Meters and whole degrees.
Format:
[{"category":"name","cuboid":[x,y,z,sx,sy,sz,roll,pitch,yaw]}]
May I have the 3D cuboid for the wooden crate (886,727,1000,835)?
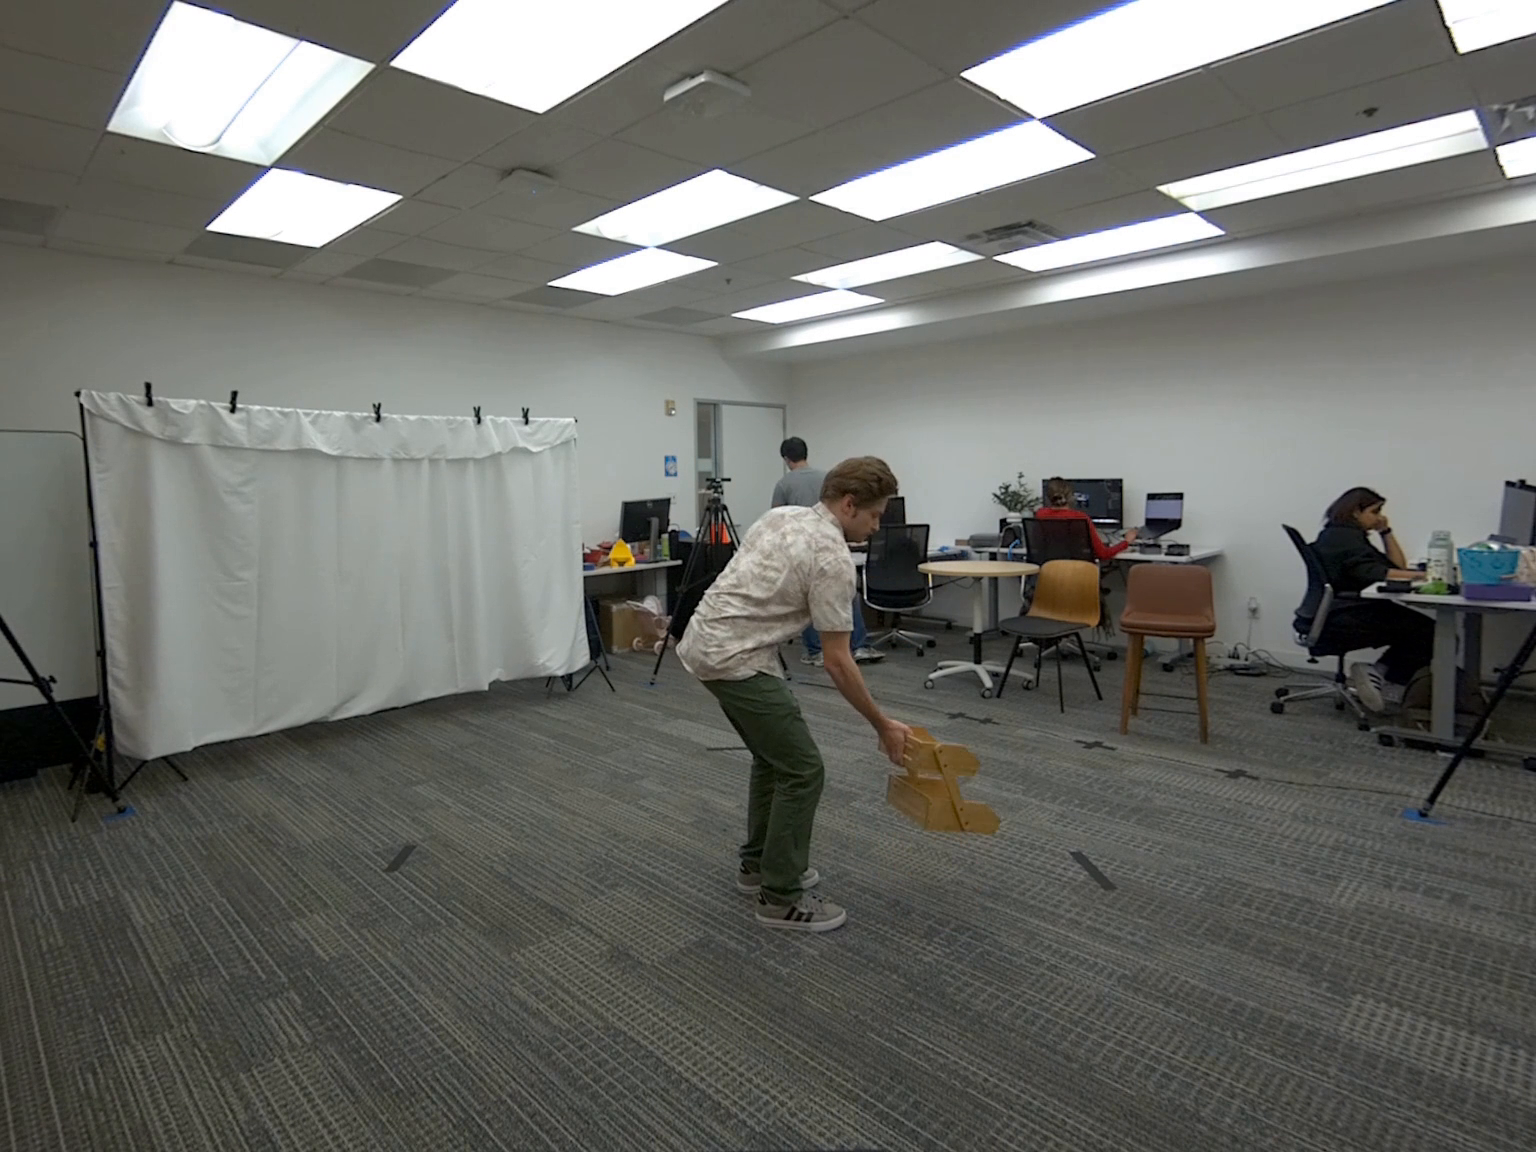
[{"category":"wooden crate","cuboid":[0.550,0.635,2.753,0.298,0.274,0.329,8,-2,-14]}]
